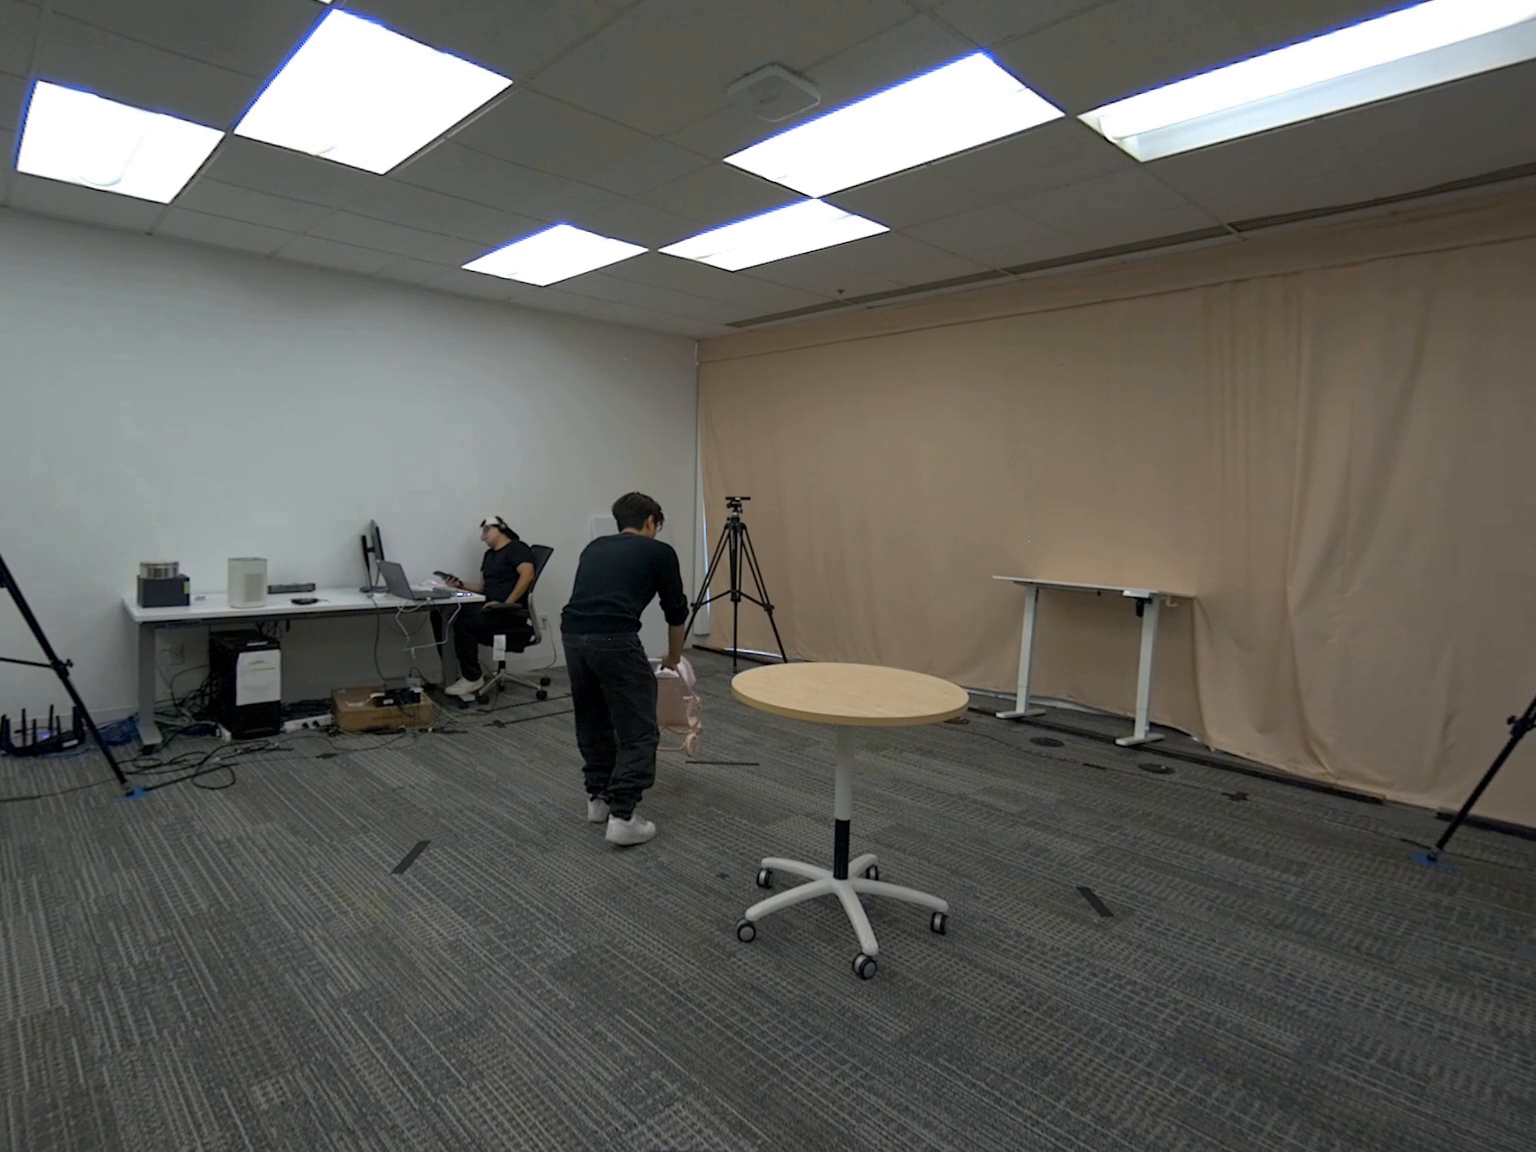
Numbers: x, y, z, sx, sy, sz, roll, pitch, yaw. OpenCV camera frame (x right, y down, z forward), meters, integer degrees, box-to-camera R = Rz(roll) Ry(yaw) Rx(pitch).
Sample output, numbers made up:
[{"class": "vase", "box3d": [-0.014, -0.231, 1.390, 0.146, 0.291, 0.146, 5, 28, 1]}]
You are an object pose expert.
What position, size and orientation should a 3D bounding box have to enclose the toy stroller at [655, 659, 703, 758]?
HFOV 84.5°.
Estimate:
[{"class": "toy stroller", "box3d": [-0.458, 0.623, 4.054, 0.286, 0.533, 0.336, -2, 6, 25]}]
